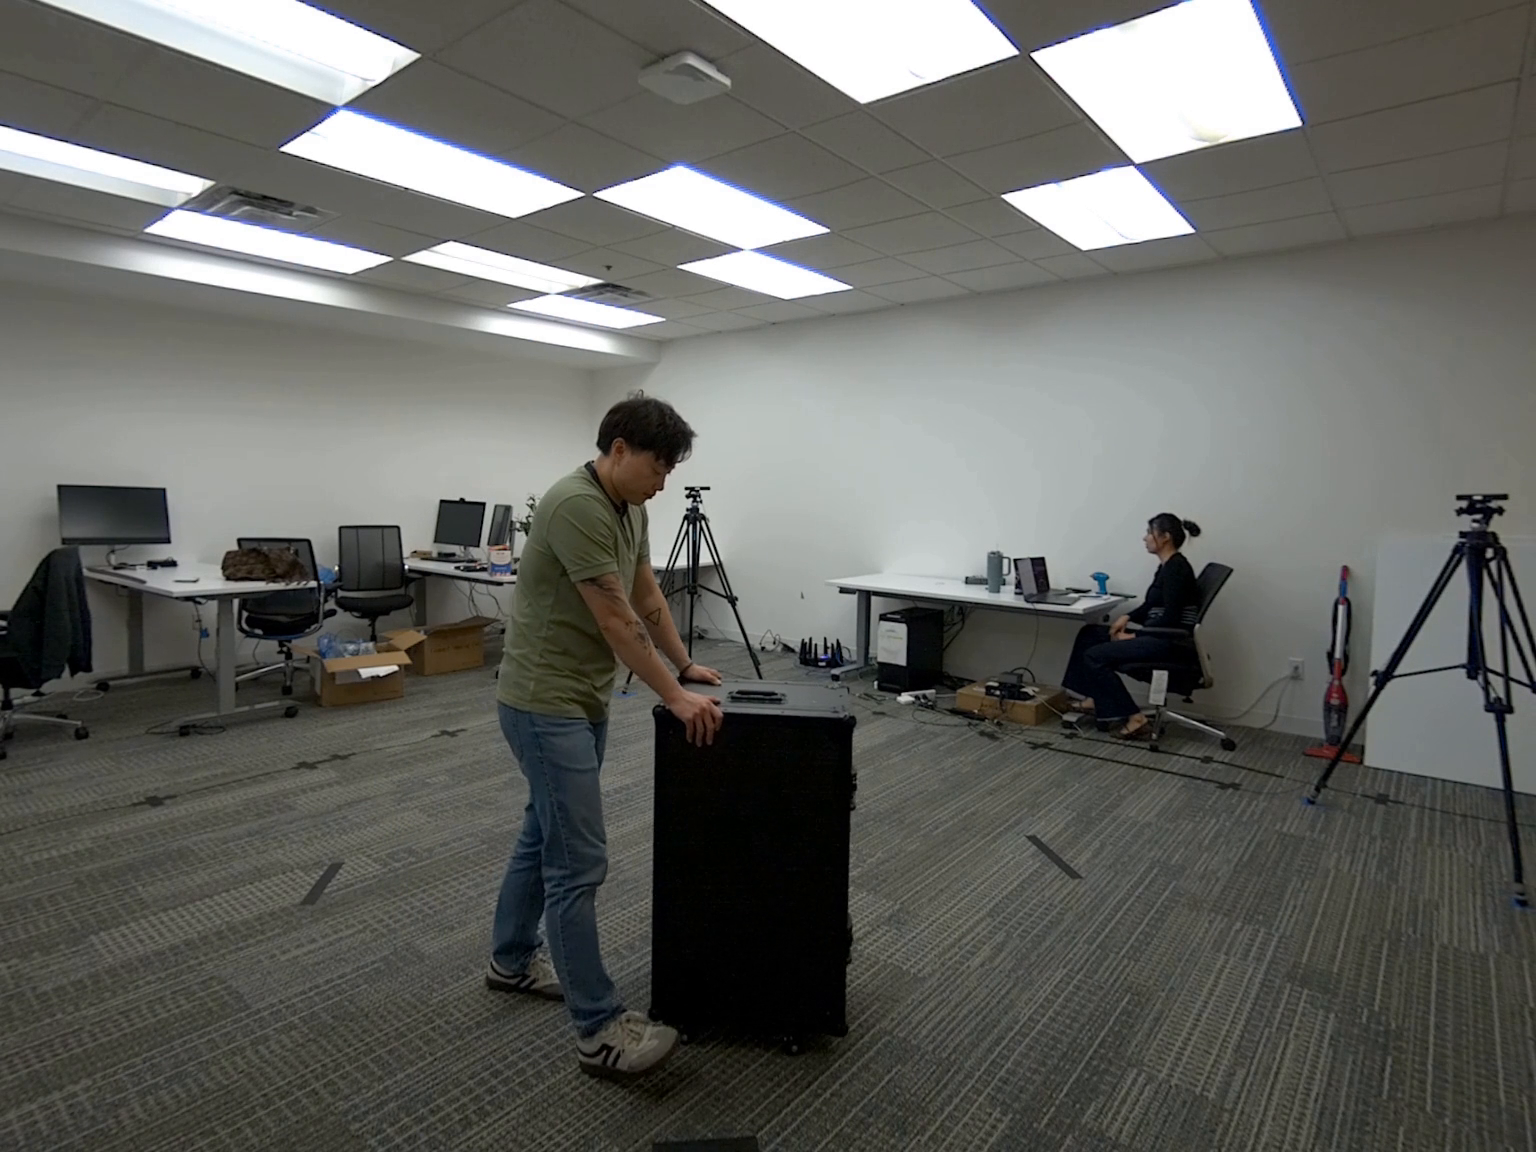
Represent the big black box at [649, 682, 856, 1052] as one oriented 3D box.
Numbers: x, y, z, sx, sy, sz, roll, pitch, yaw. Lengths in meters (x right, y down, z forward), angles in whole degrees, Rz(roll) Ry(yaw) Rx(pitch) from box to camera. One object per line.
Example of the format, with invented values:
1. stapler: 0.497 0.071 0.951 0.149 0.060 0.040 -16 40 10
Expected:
1. big black box: -0.056 0.745 2.245 0.524 0.859 0.395 -1 3 4
